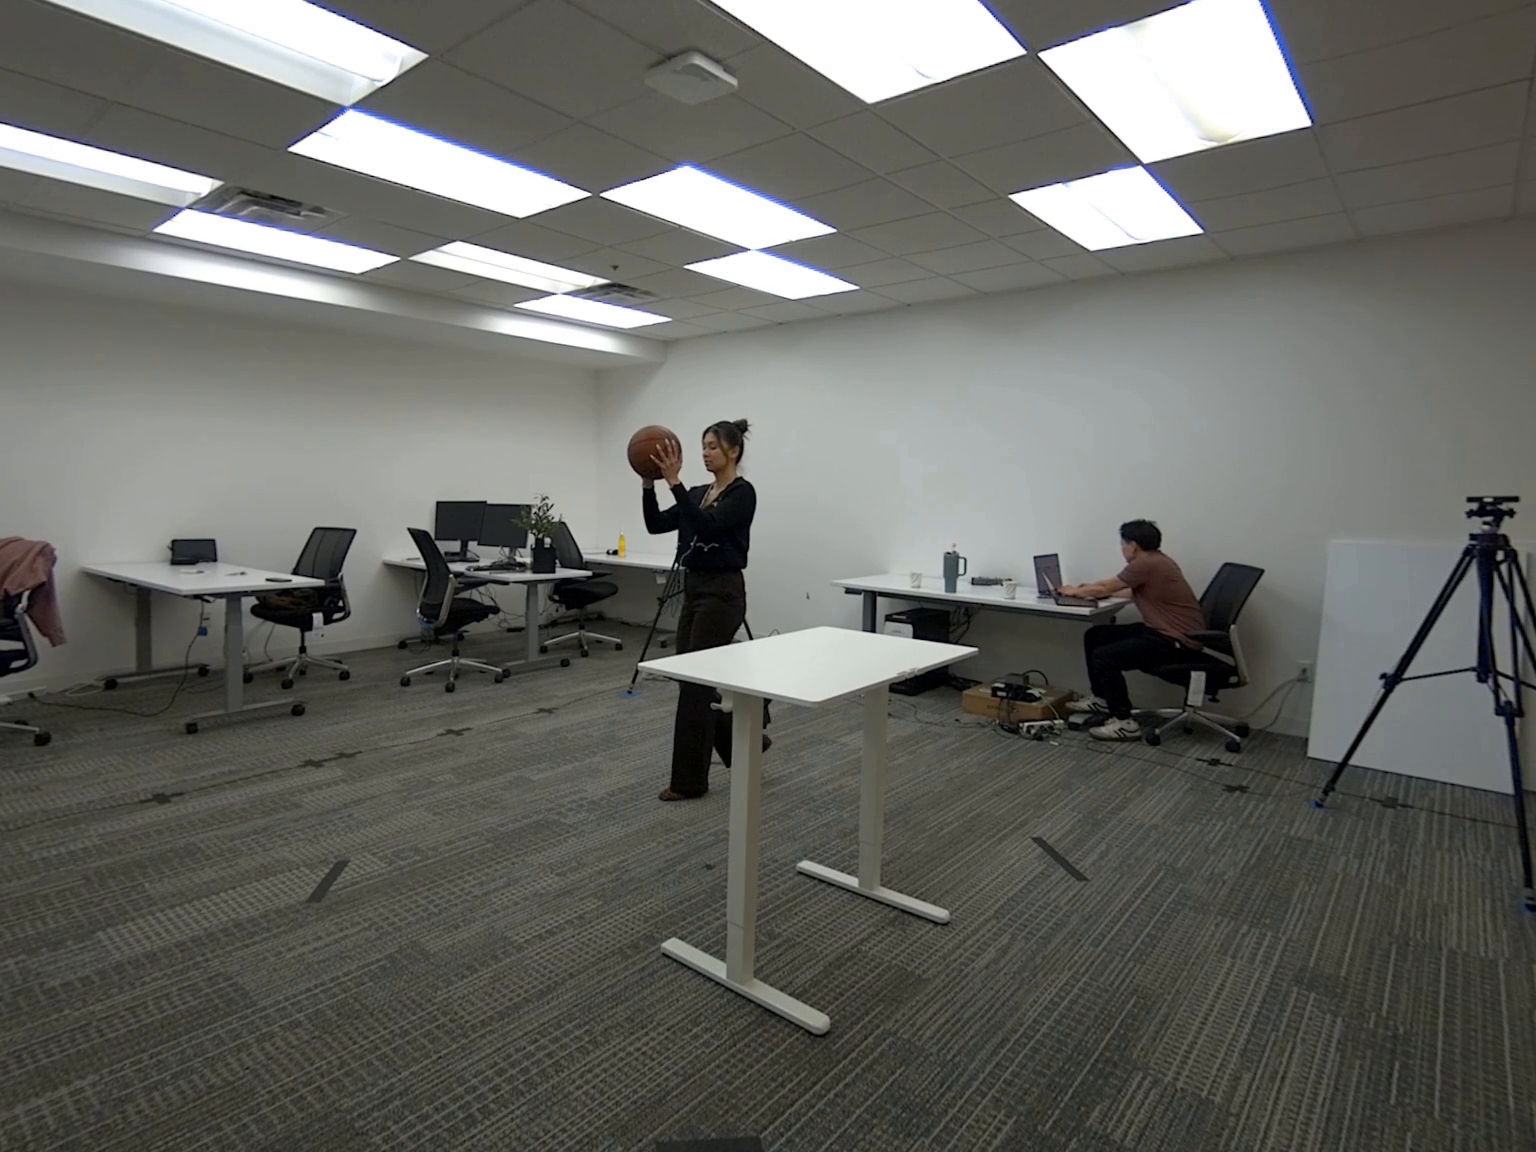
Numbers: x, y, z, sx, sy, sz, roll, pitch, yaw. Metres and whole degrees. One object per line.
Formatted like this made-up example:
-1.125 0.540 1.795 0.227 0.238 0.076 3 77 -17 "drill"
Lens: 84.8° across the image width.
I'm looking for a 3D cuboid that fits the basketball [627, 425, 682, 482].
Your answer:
-0.503 -0.539 3.692 0.235 0.235 0.237 1 4 -2 "basketball"
